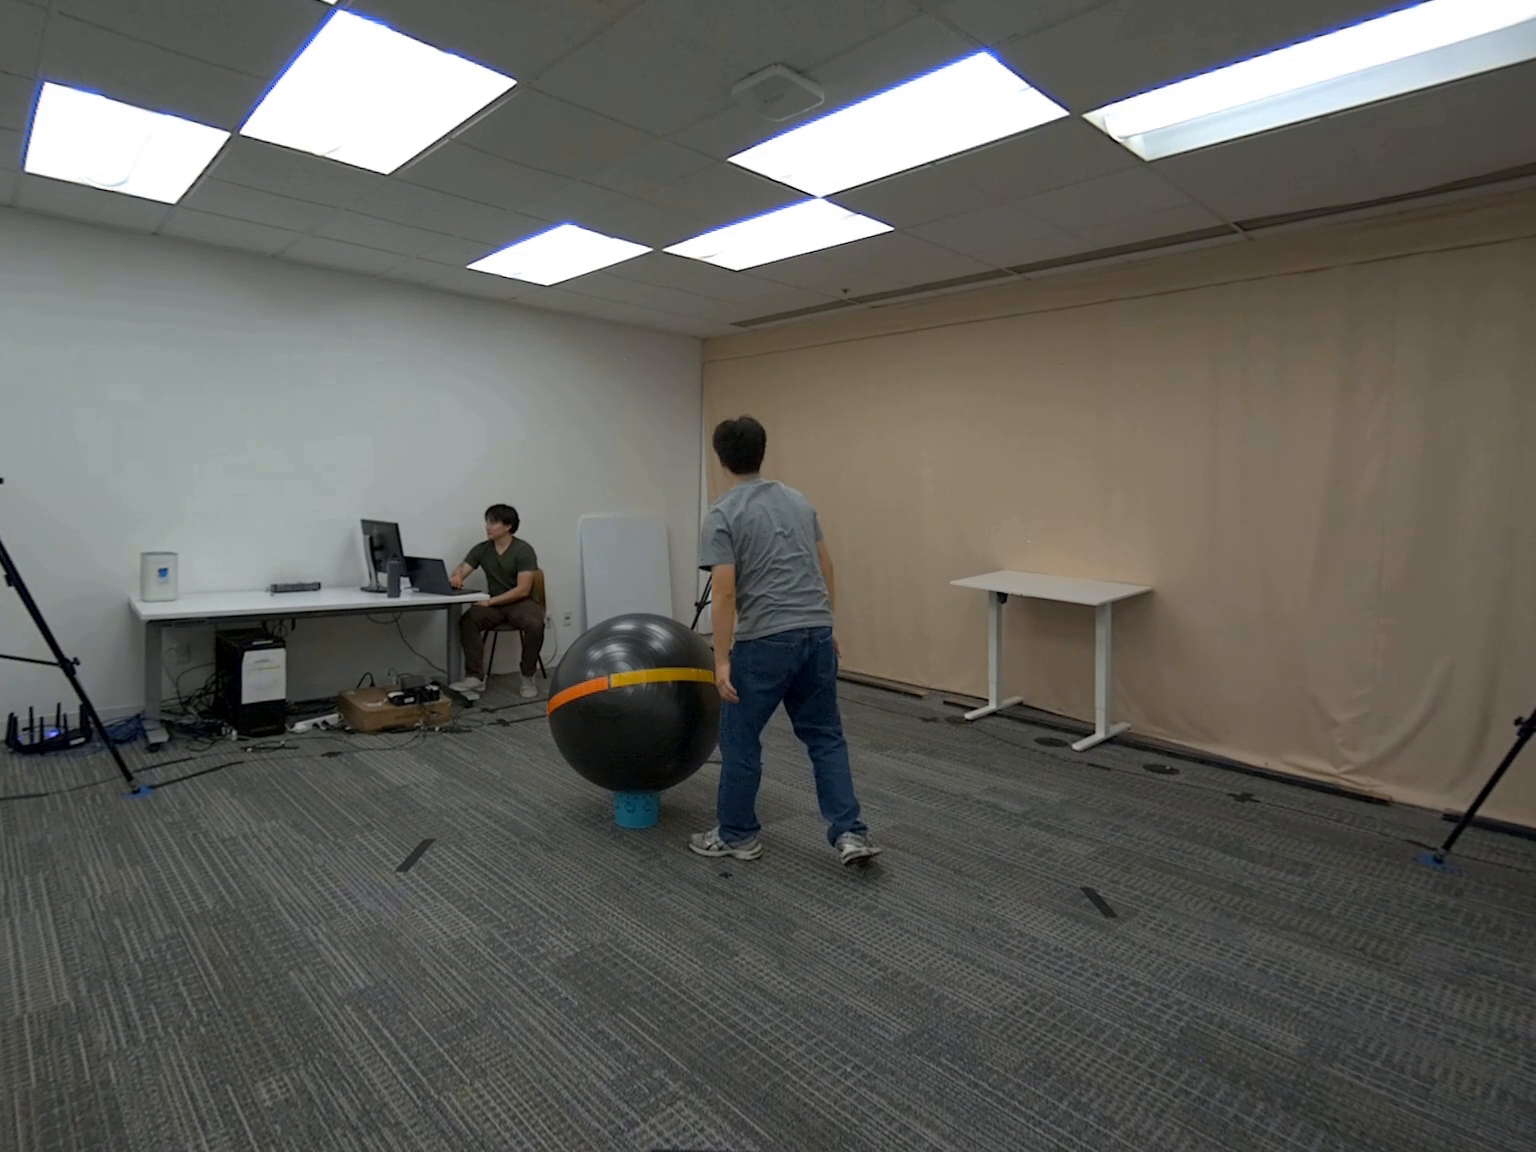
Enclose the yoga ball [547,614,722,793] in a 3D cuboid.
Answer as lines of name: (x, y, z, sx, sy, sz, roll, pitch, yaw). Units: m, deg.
yoga ball: (-0.561, 0.542, 3.600, 0.757, 0.756, 0.761, 1, 4, -1)
